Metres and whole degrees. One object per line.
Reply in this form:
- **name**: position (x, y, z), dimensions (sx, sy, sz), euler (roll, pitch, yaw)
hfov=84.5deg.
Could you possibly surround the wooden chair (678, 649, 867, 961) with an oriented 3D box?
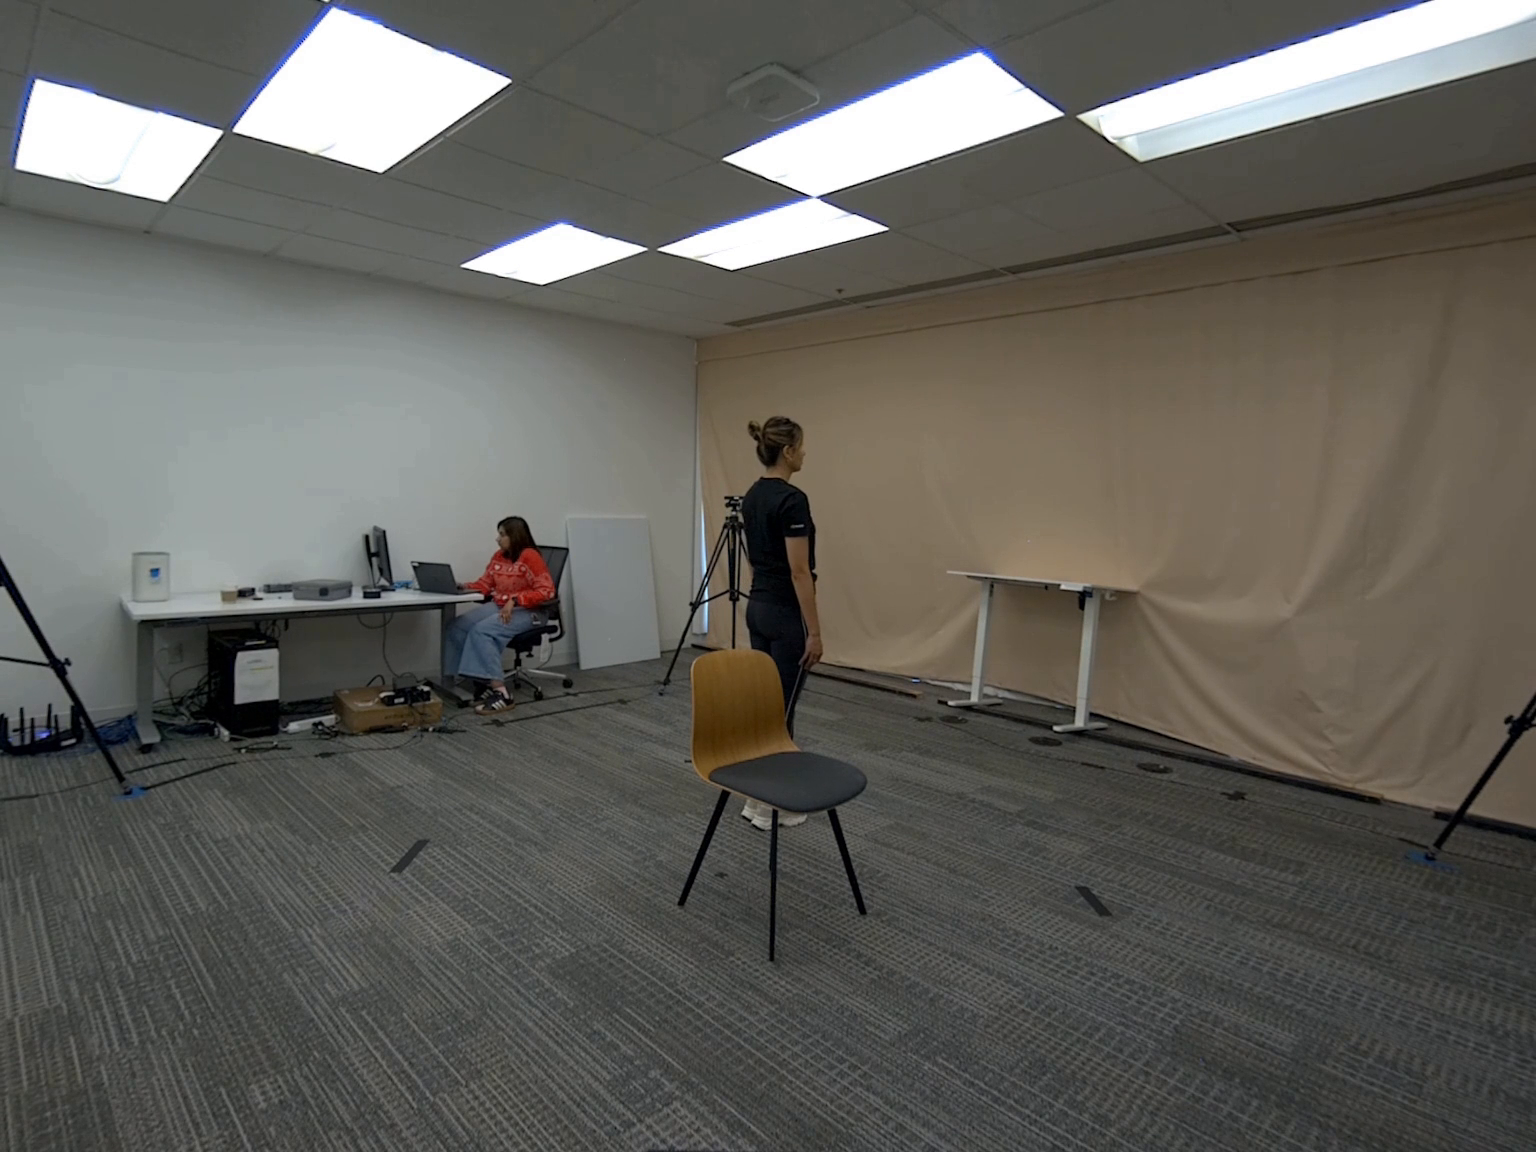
- **wooden chair**: position (0.023, 0.709, 2.805), dimensions (0.467, 0.877, 0.535), euler (-2, 1, -44)
